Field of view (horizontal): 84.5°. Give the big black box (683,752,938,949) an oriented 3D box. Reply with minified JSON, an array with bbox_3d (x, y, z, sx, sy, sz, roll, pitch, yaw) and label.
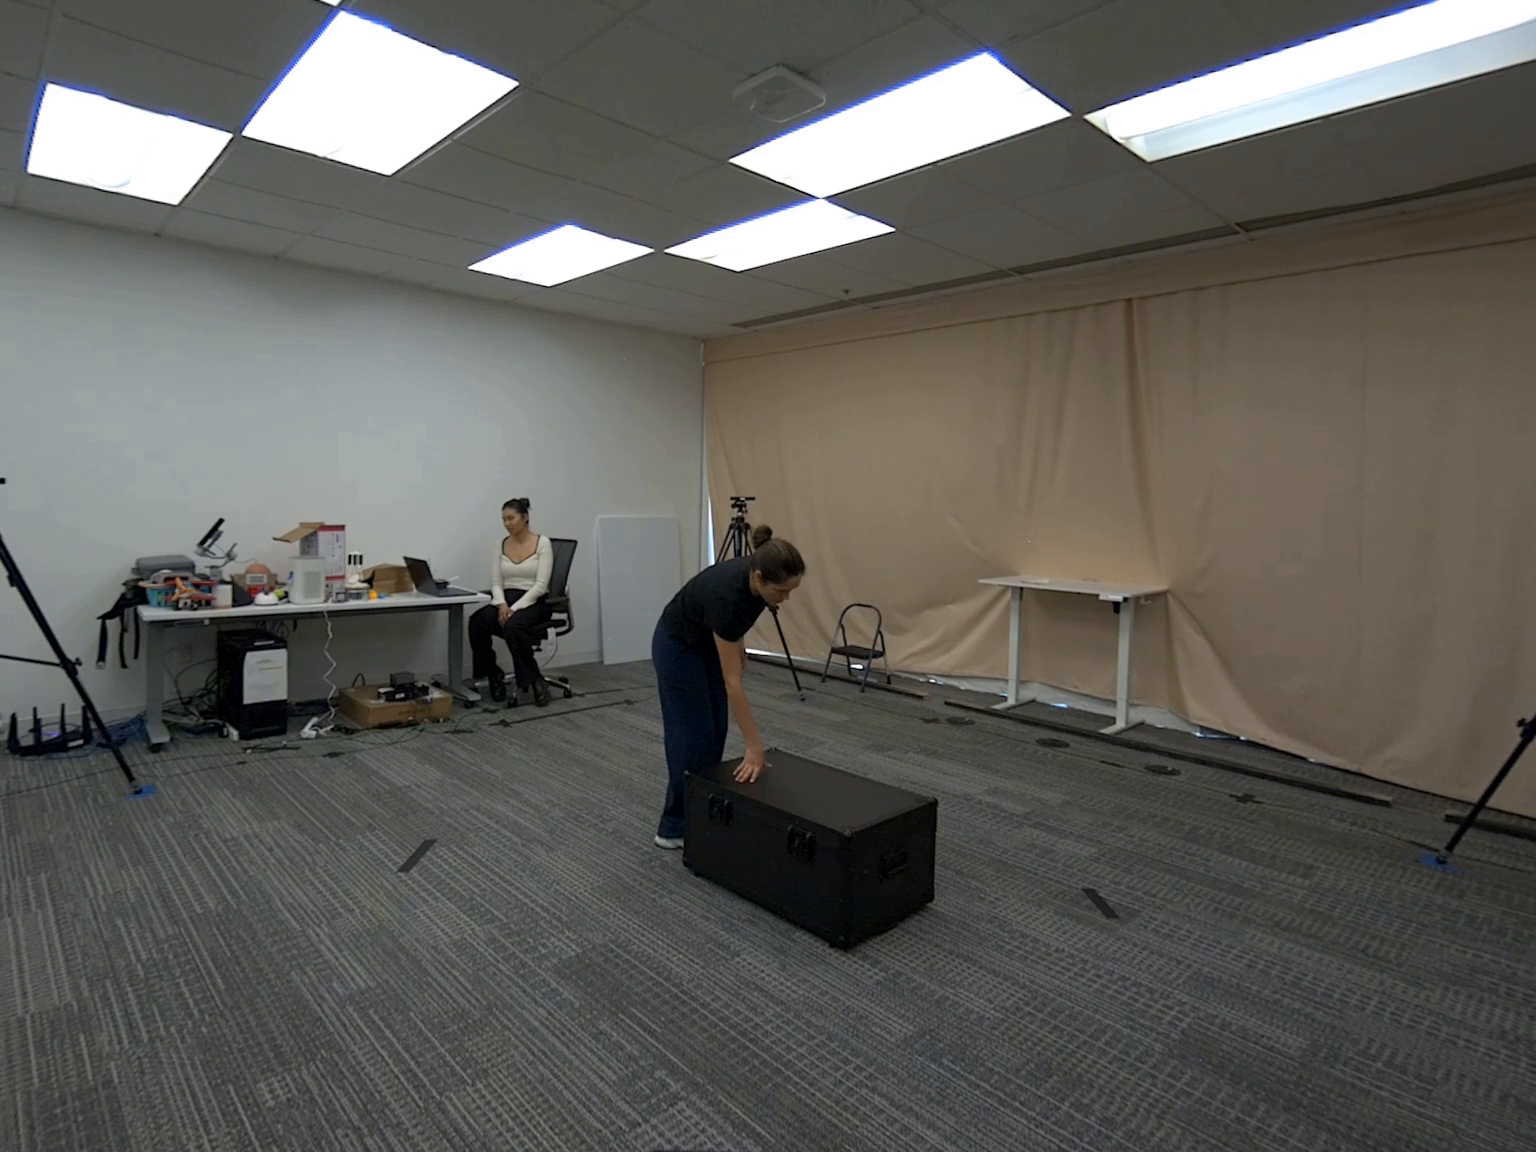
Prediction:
[{"bbox_3d":[0.102,0.914,3.018,0.509,0.395,0.883,-3,6,-44],"label":"big black box"}]
